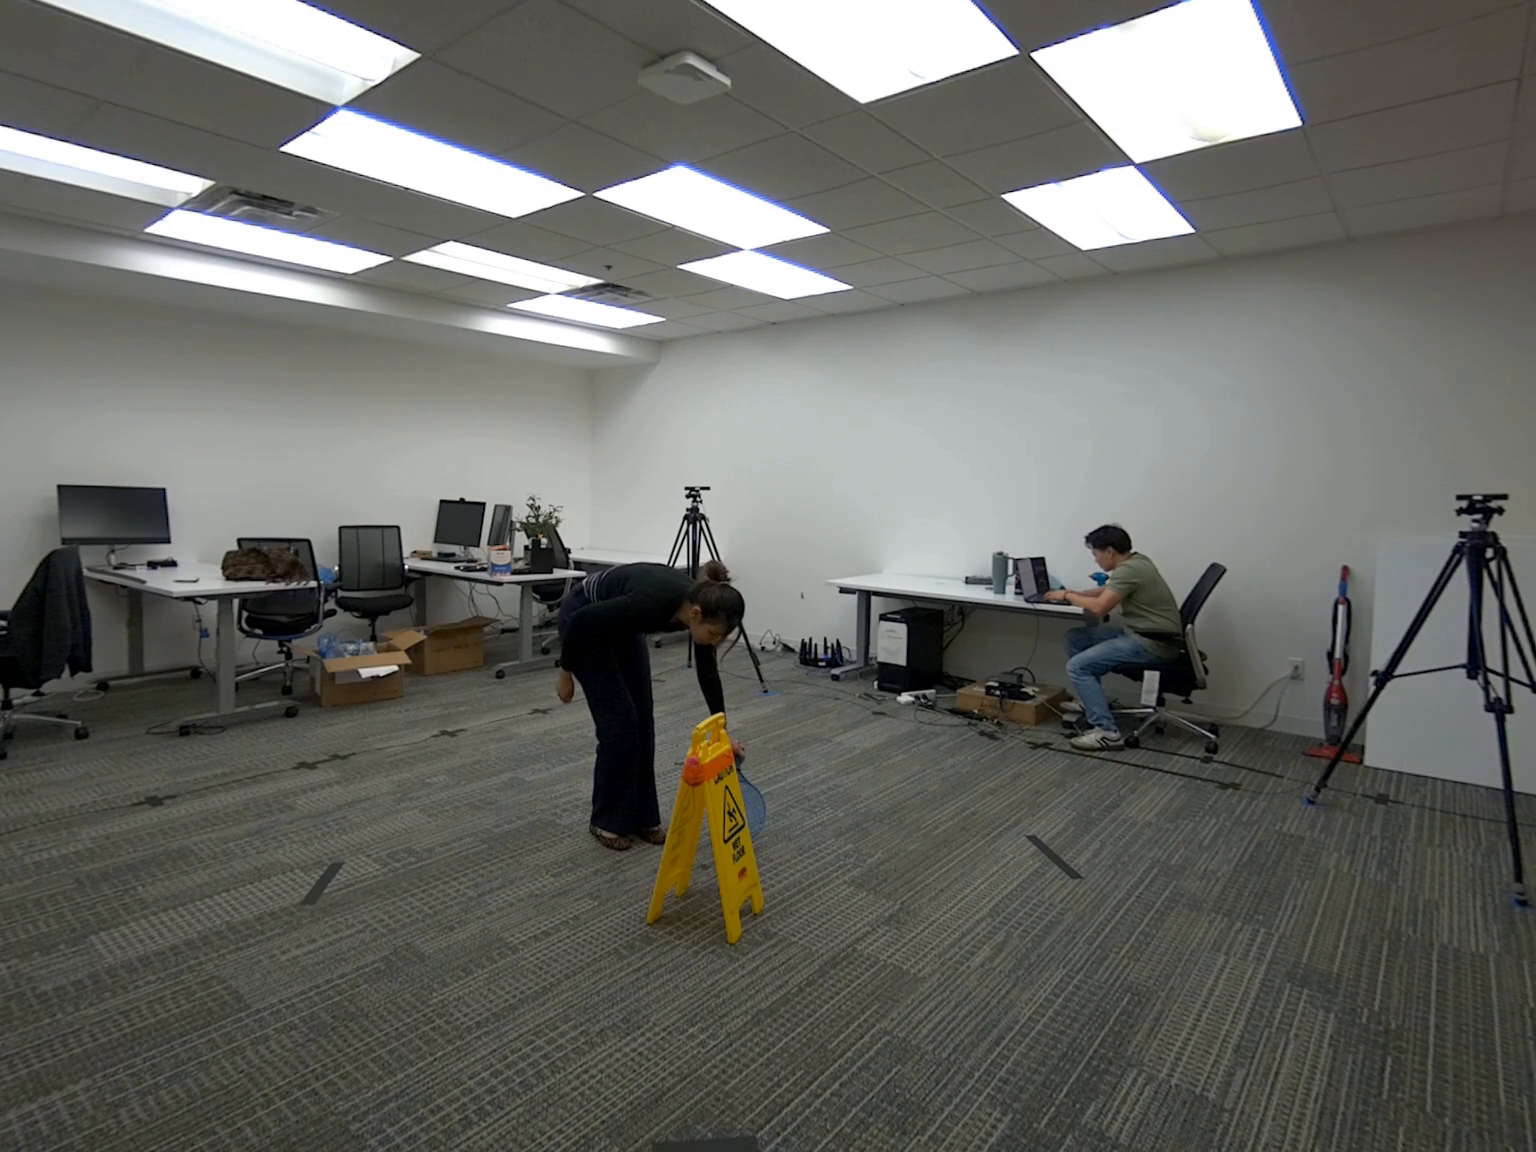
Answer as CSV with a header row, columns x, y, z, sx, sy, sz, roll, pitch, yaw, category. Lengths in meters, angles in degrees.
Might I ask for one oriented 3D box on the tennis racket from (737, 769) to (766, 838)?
x,y,z,sx,sy,sz,roll,pitch,yaw,category
-0.106,0.860,3.350,0.214,0.031,0.445,2,42,-1,tennis racket
